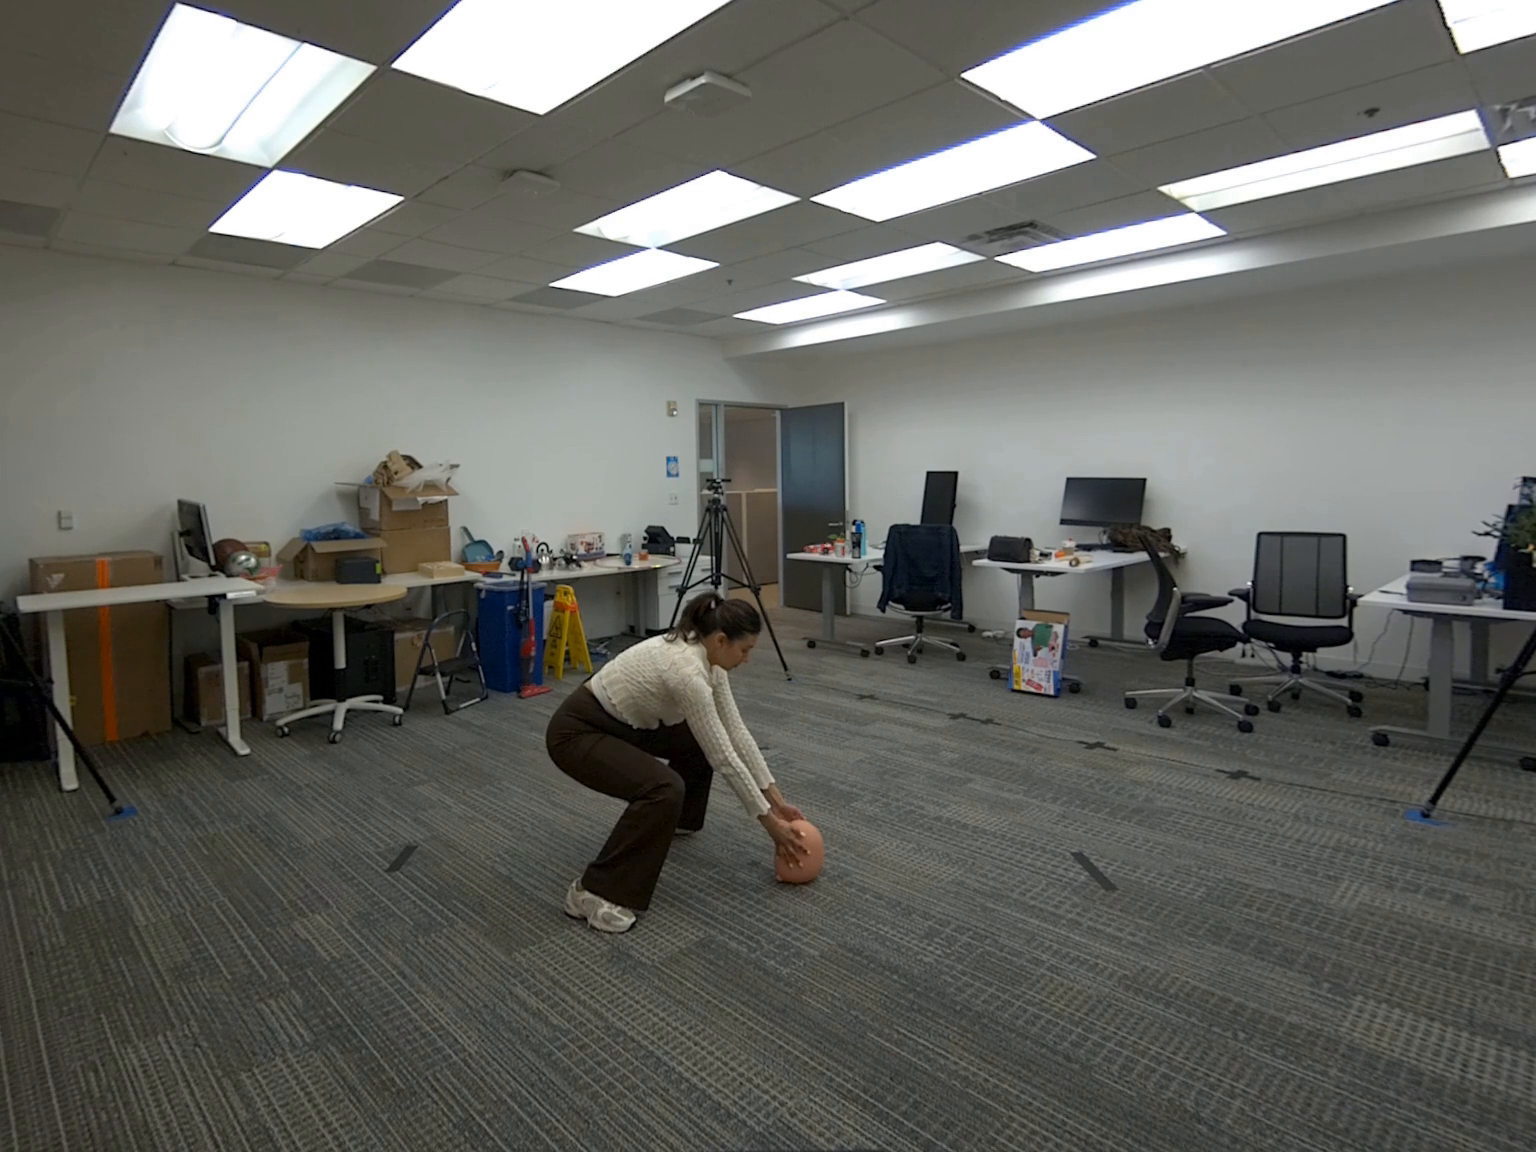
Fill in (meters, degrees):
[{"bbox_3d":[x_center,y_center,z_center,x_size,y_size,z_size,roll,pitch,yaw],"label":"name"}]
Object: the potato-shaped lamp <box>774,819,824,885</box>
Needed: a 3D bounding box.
[{"bbox_3d":[0.106,0.950,2.983,0.172,0.197,0.165,0,5,1],"label":"potato-shaped lamp"}]
